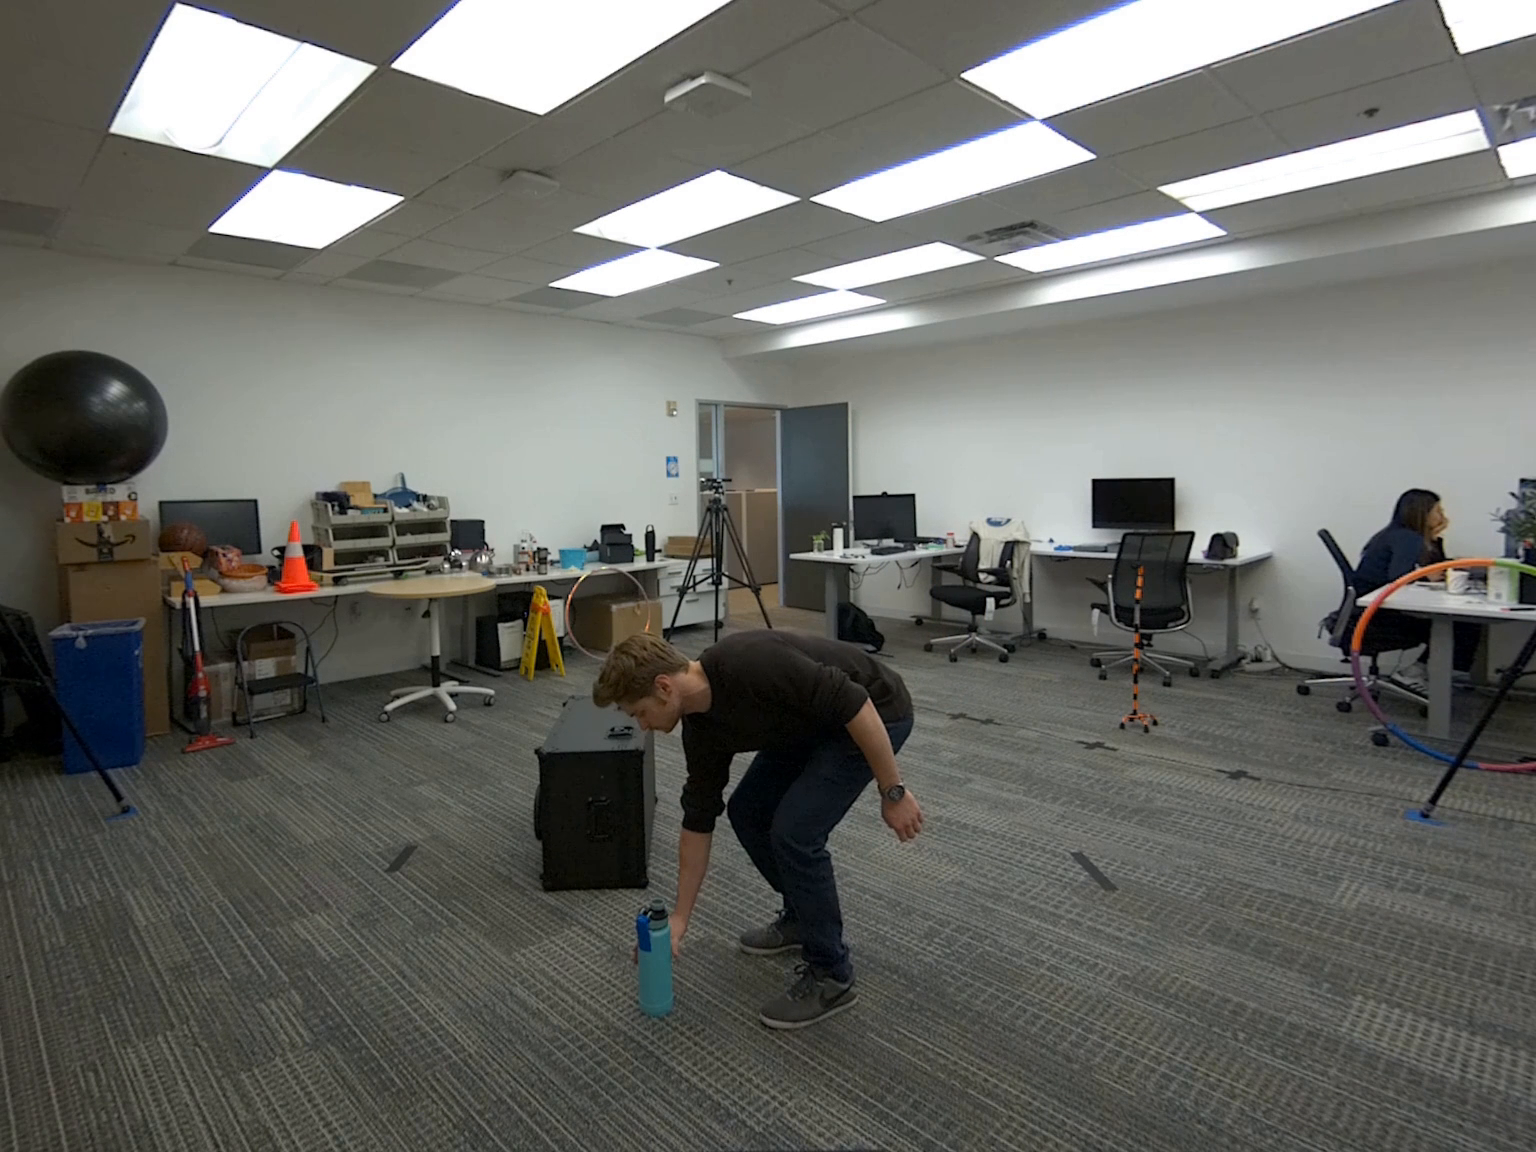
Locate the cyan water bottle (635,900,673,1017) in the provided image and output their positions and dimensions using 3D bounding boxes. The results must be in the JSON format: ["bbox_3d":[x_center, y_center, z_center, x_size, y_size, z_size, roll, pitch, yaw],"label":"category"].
[{"bbox_3d":[-0.296,1.012,2.259,0.092,0.282,0.093,-4,5,-1],"label":"cyan water bottle"}]
